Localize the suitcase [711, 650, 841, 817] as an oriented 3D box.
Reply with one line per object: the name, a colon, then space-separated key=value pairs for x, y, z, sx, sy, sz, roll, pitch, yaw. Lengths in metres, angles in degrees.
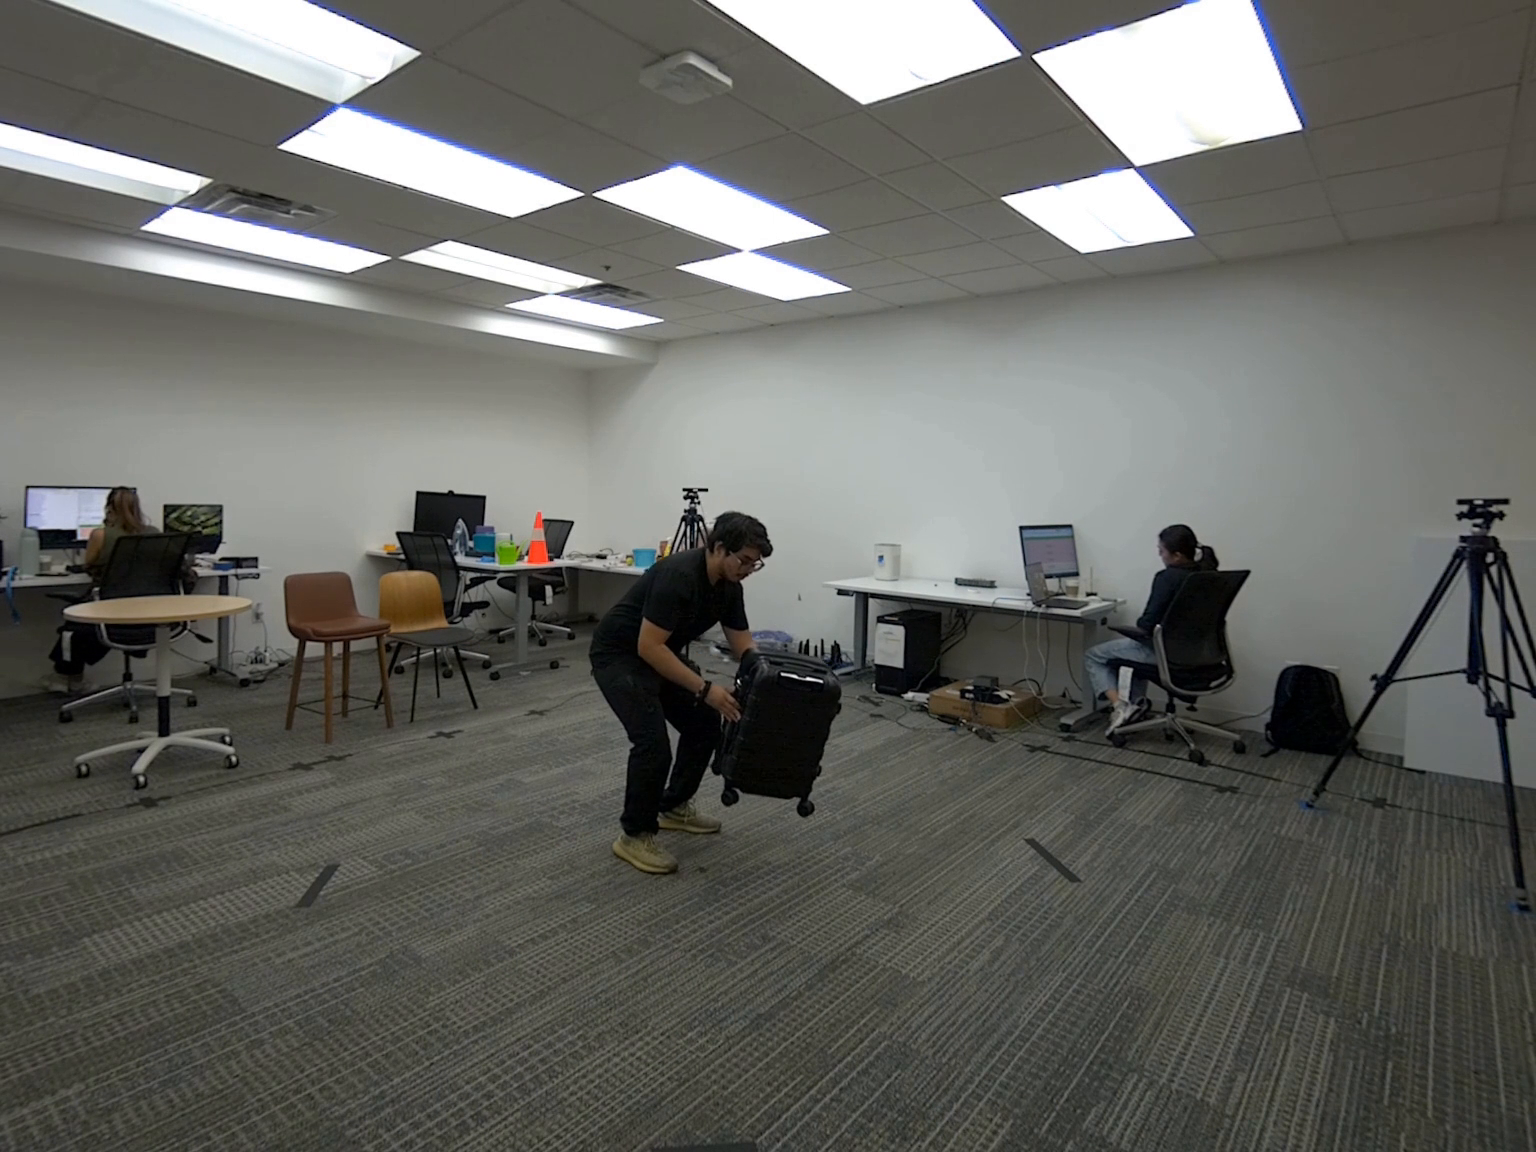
suitcase: x=0.024 y=0.548 z=3.119 sx=0.368 sy=0.544 sz=0.255 roll=10 pitch=16 yaw=-16
